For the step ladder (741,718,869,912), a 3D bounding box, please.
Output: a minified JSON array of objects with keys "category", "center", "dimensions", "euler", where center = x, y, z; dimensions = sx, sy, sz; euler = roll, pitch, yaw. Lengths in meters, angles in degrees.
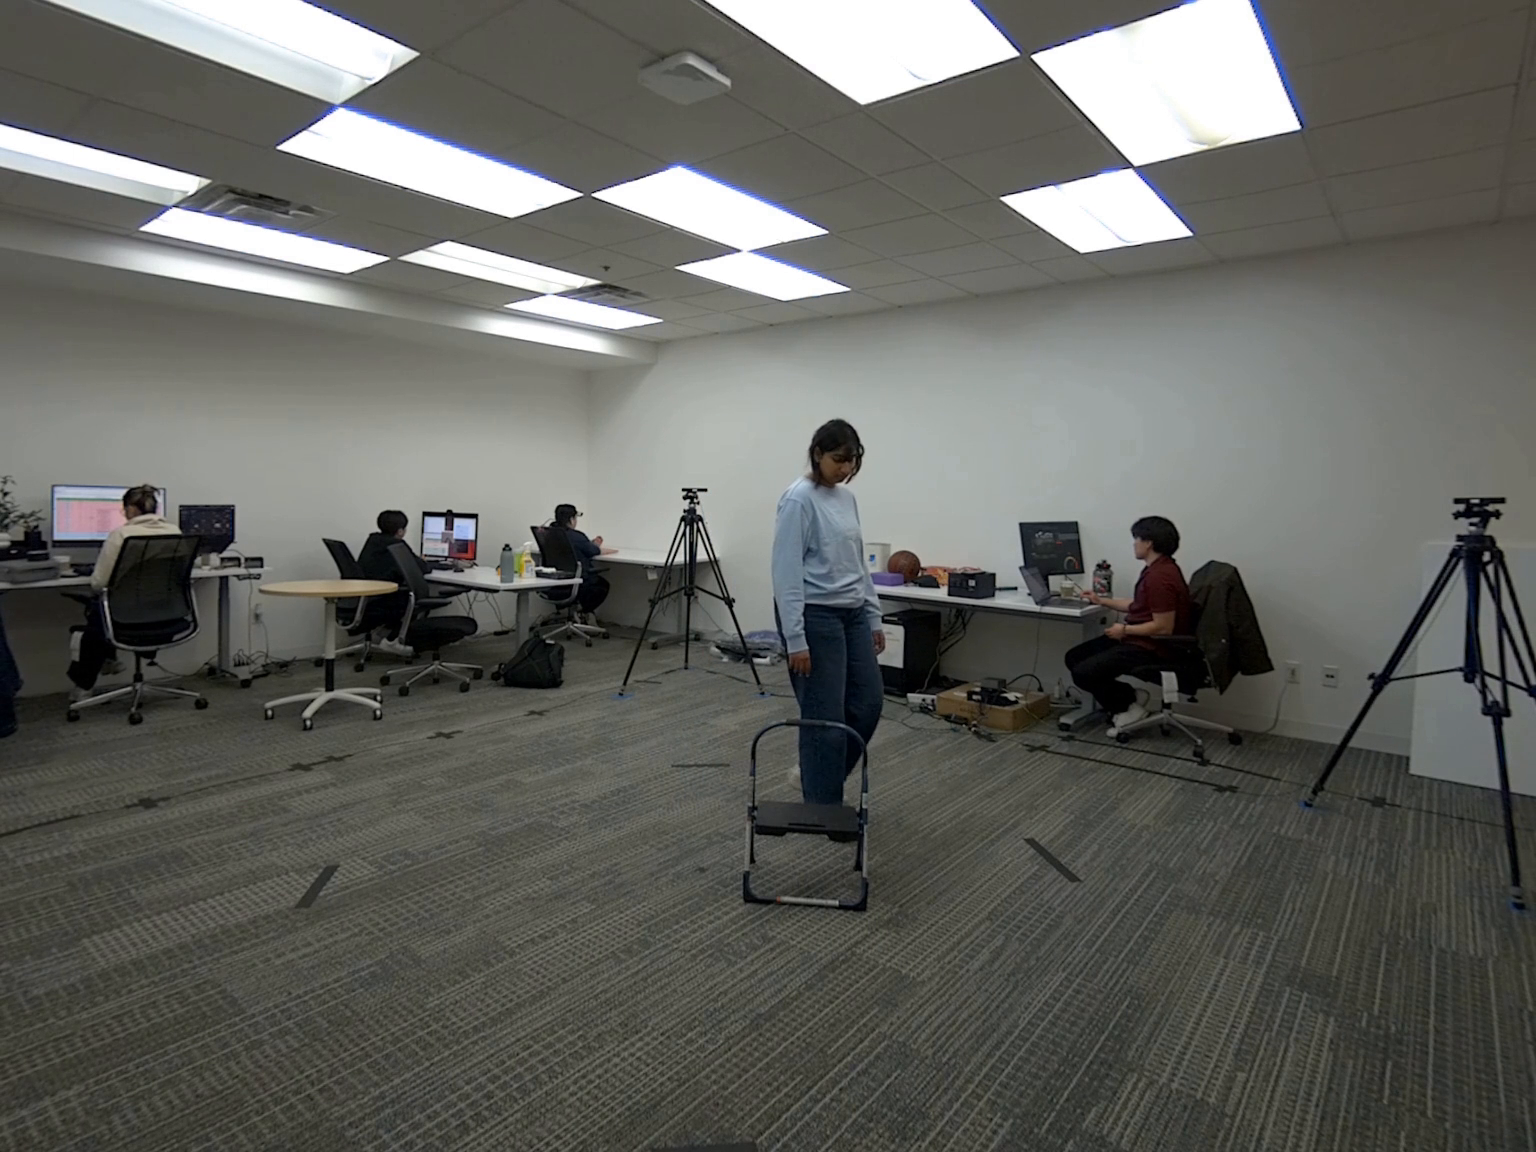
[{"category":"step ladder","center":[0.128,0.786,2.990],"dimensions":[0.433,0.604,0.348],"euler":[1,3,5]}]
